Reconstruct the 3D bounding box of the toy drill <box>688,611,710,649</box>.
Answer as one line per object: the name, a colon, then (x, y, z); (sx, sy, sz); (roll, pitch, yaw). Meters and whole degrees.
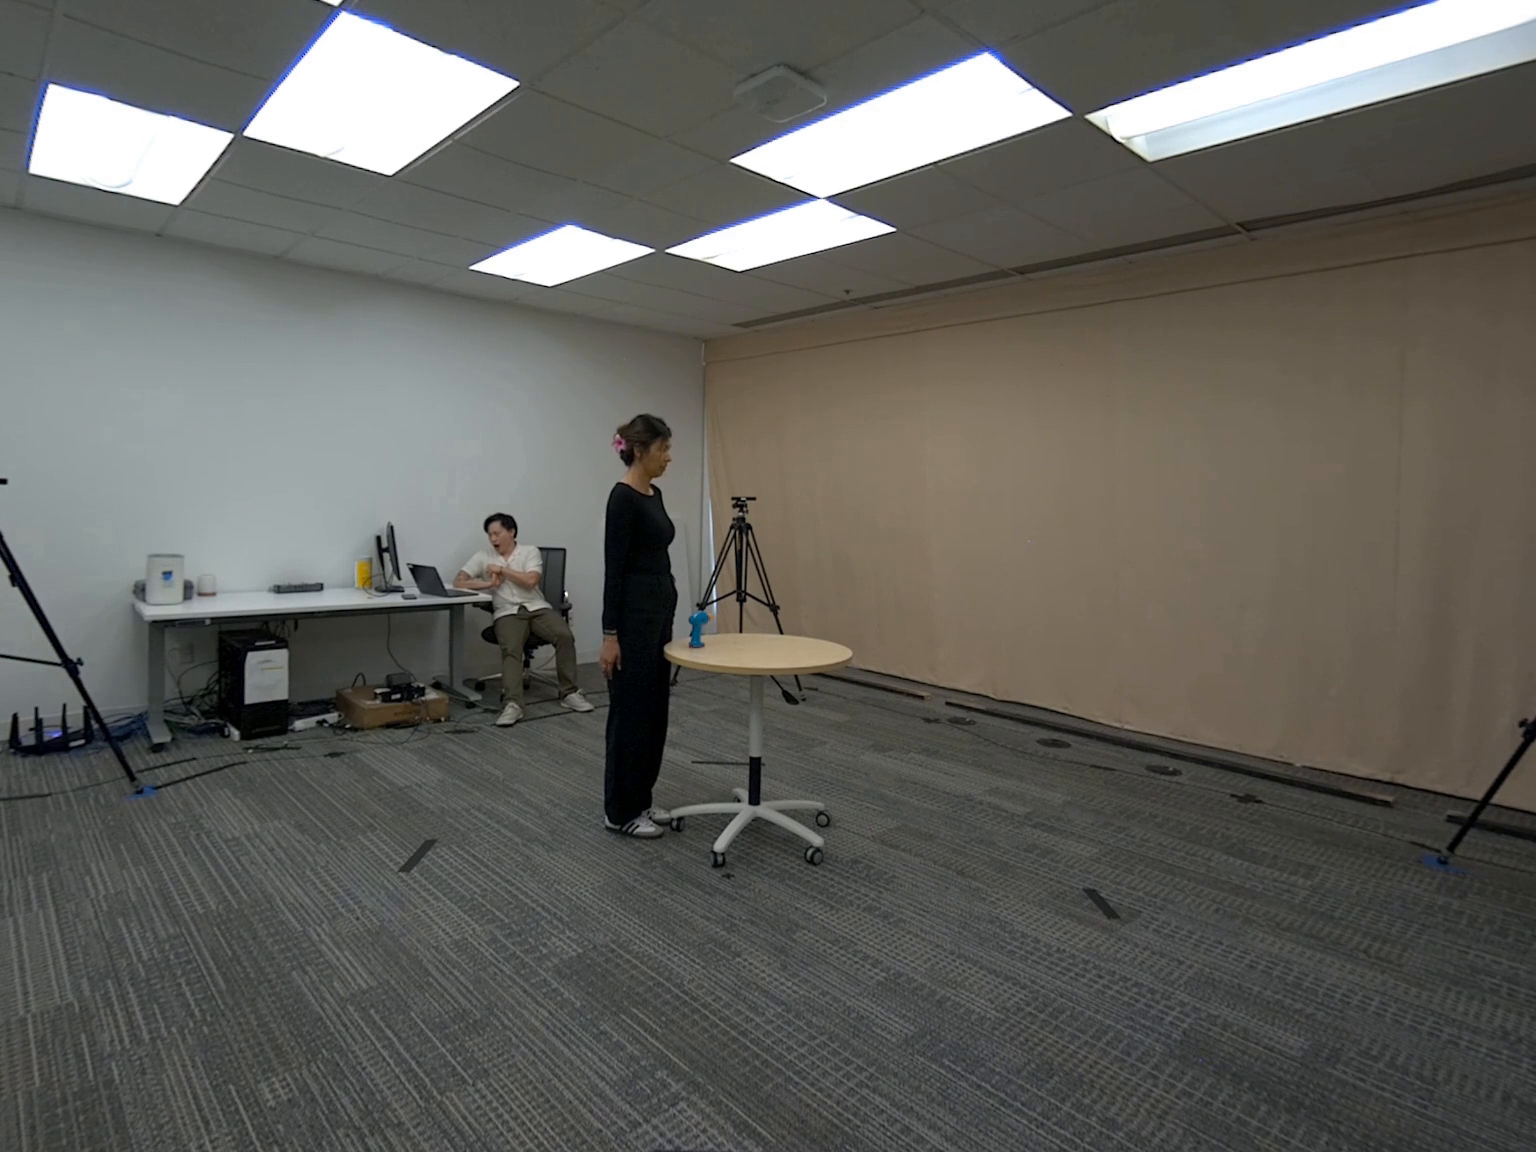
toy drill: (-0.284, 0.213, 3.481); (0.062, 0.145, 0.167); (4, 5, 29)
